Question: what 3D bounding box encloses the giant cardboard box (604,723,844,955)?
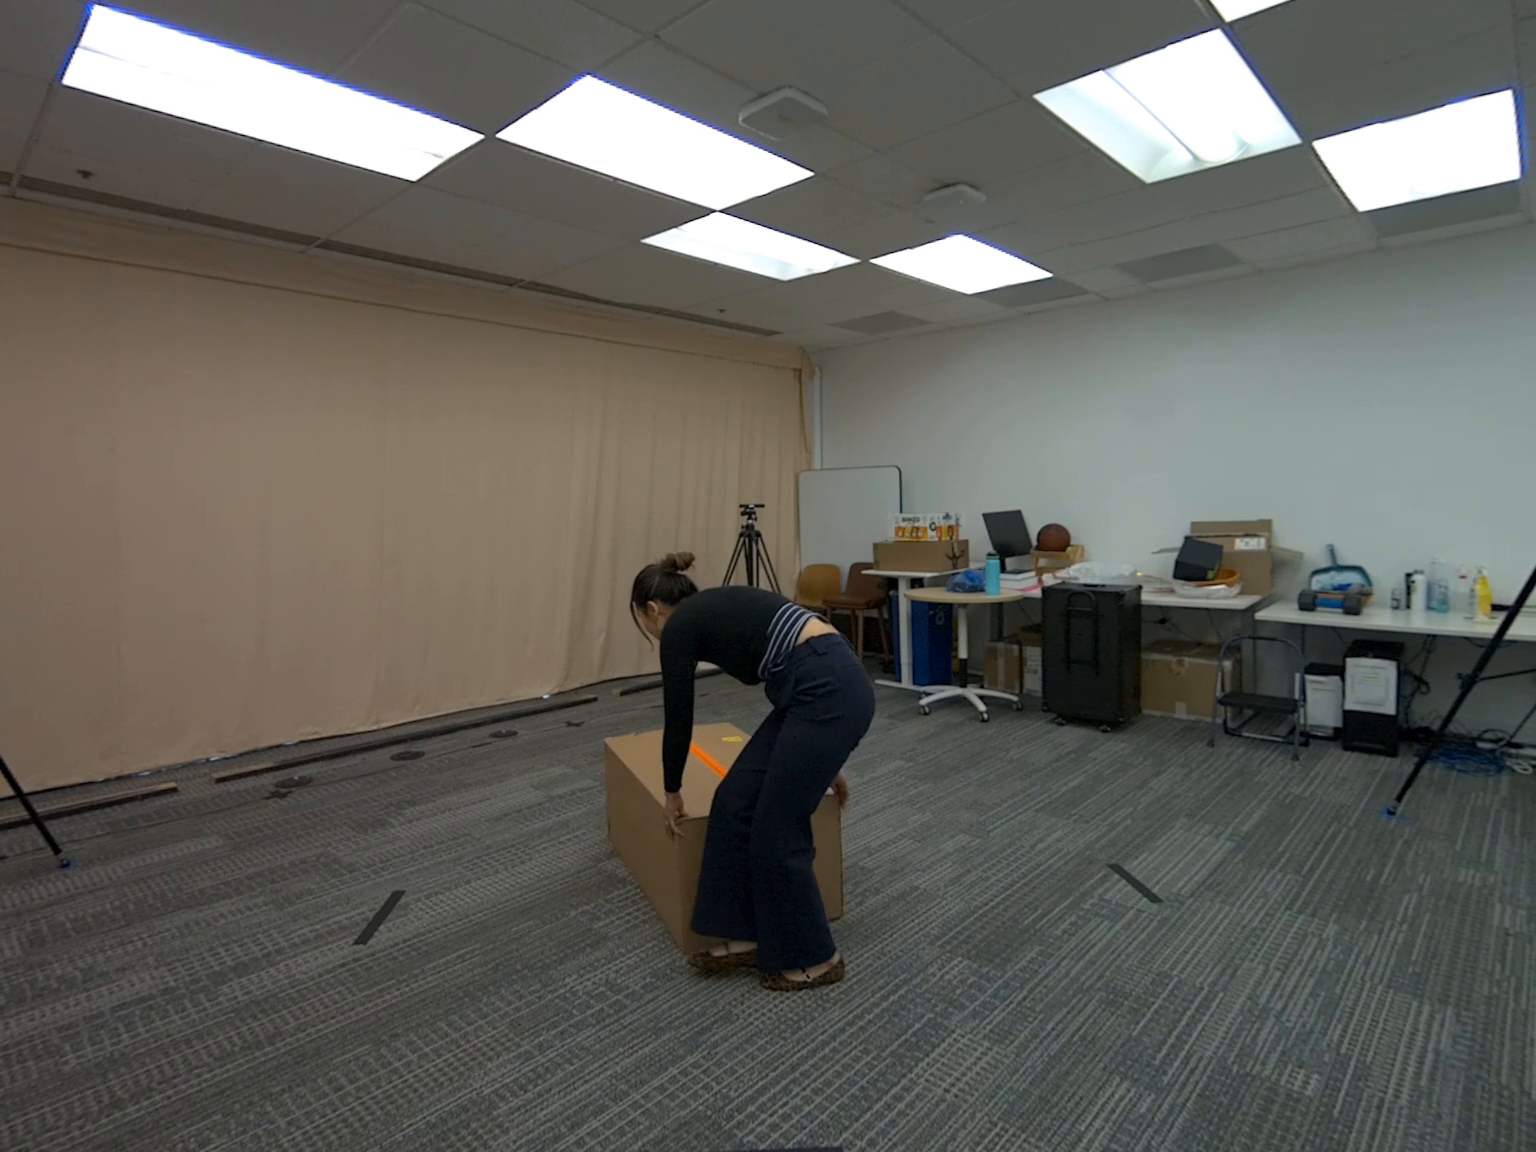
[{"bbox_3d":[-0.219,0.909,3.182,0.565,0.425,1.051,-3,5,-23],"label":"giant cardboard box"}]
